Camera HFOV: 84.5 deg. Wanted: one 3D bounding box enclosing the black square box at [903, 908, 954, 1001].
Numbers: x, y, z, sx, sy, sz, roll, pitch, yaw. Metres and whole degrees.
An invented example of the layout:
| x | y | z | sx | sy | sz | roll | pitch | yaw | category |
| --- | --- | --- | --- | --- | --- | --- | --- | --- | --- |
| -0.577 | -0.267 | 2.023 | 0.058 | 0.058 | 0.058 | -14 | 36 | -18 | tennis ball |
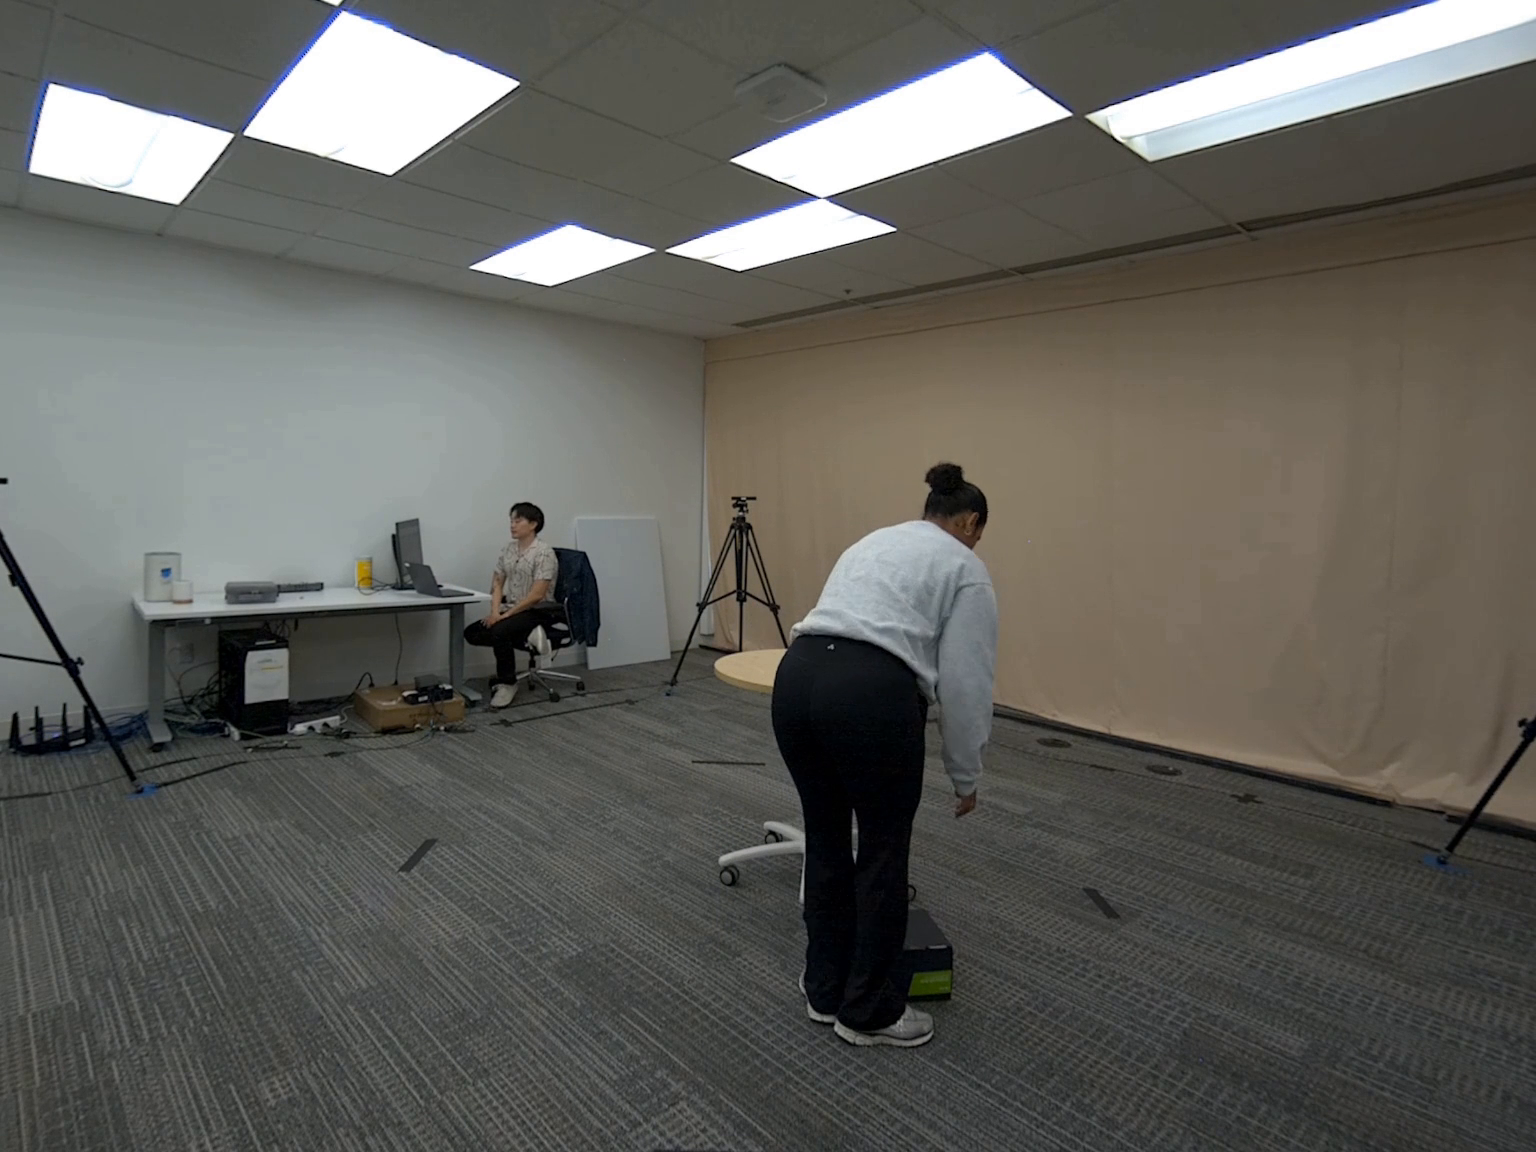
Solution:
| x | y | z | sx | sy | sz | roll | pitch | yaw | category |
| --- | --- | --- | --- | --- | --- | --- | --- | --- | --- |
| 0.385 | 1.102 | 2.441 | 0.226 | 0.155 | 0.219 | 1 | 5 | -9 | black square box |
